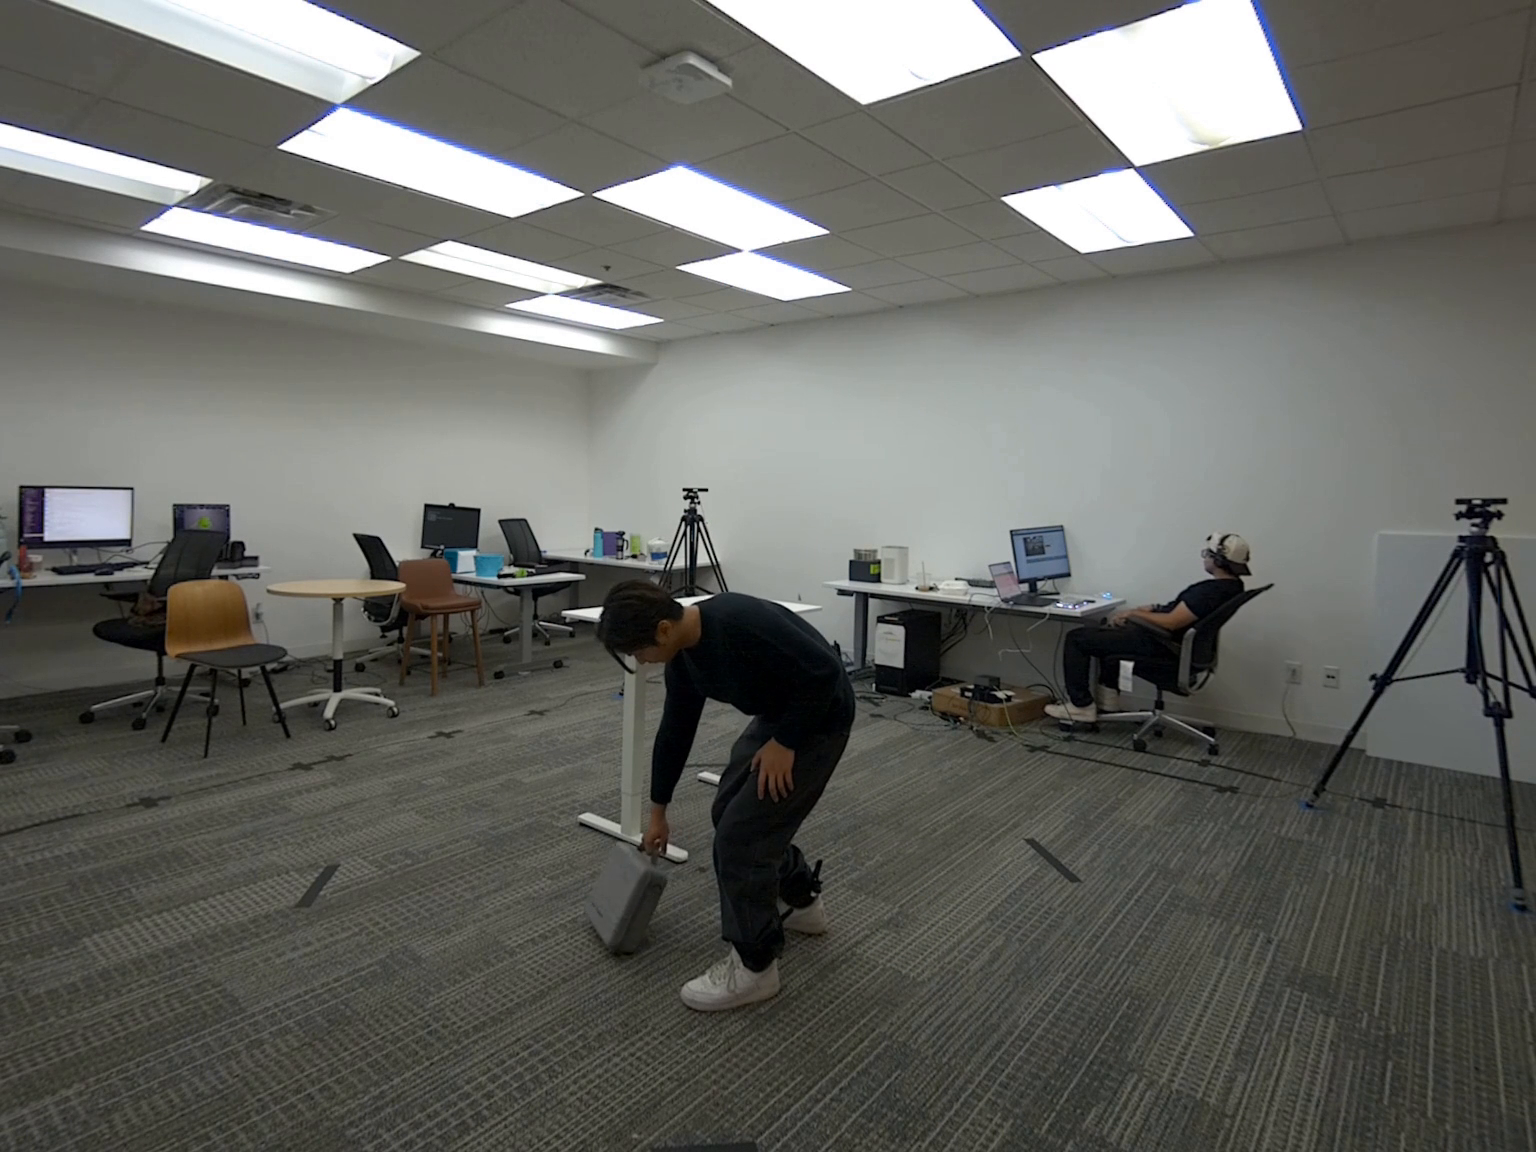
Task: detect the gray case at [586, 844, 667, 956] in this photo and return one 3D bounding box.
[{"bbox_3d":[-0.444,0.980,2.632,0.101,0.261,0.265,27,-8,-29],"label":"gray case"}]
